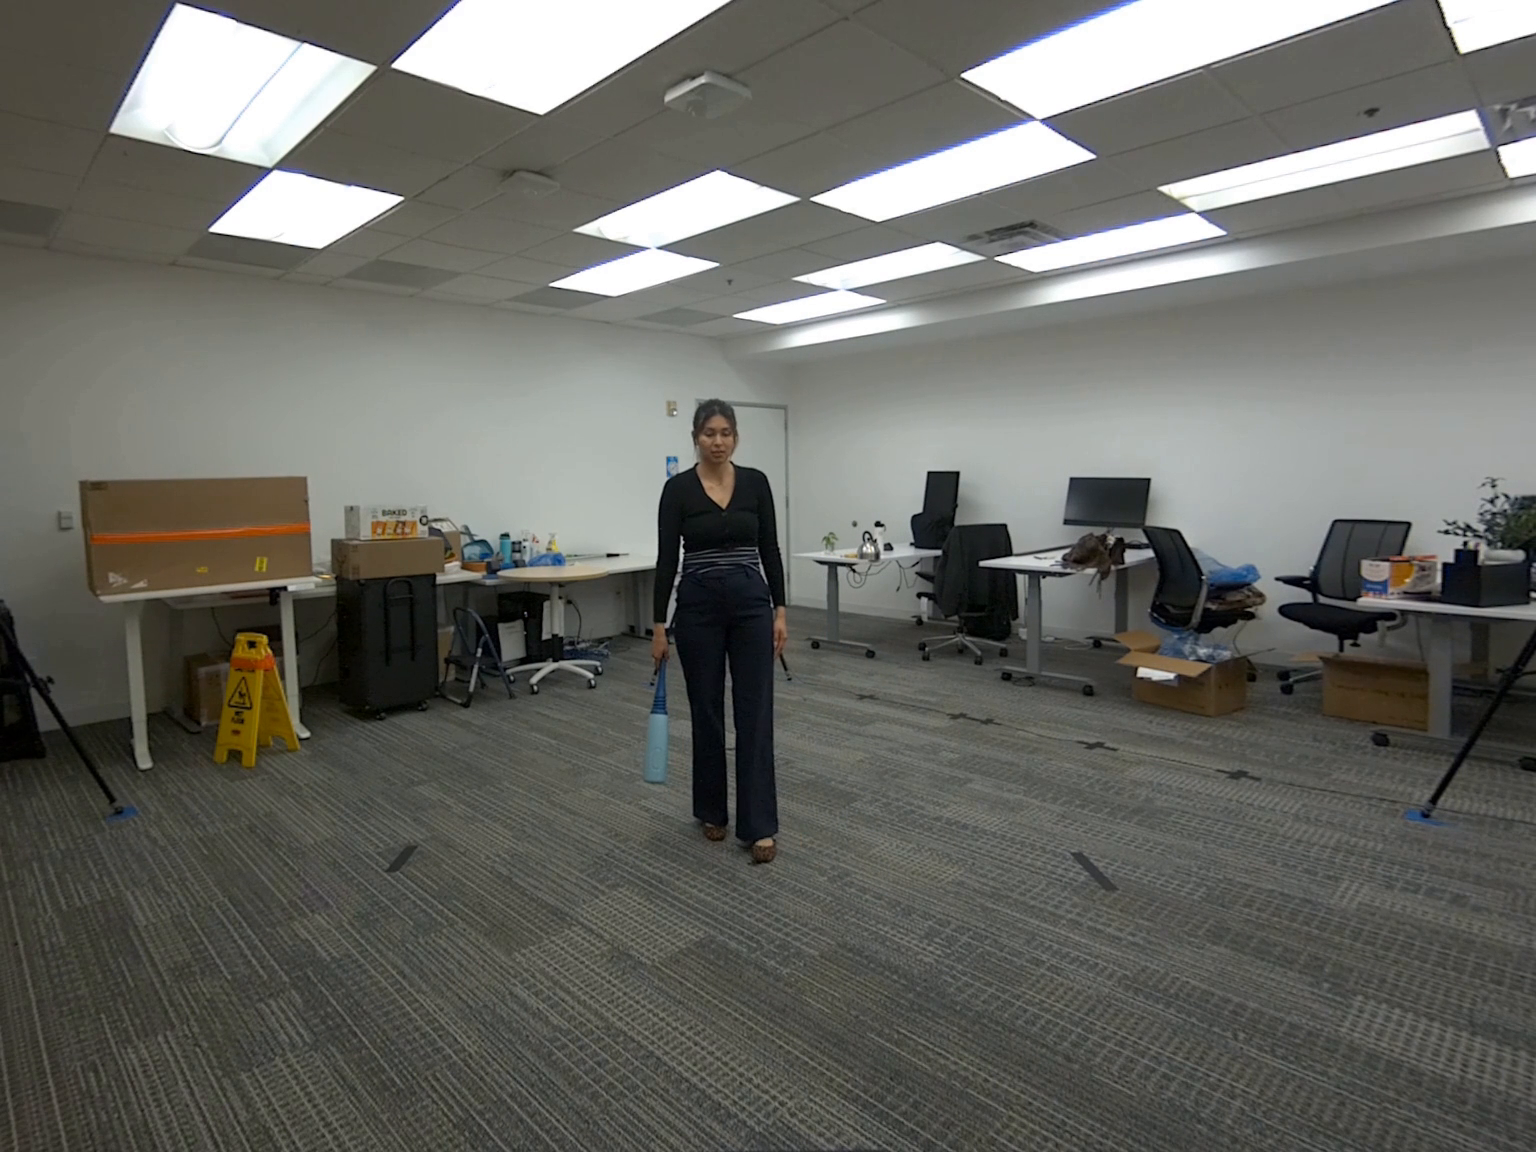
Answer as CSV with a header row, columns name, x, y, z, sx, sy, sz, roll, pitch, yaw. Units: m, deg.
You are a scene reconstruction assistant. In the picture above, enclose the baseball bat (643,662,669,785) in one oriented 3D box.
name,x,y,z,sx,sy,sz,roll,pitch,yaw
baseball bat,-0.405,0.507,3.219,0.089,0.550,0.088,2,-15,-1
